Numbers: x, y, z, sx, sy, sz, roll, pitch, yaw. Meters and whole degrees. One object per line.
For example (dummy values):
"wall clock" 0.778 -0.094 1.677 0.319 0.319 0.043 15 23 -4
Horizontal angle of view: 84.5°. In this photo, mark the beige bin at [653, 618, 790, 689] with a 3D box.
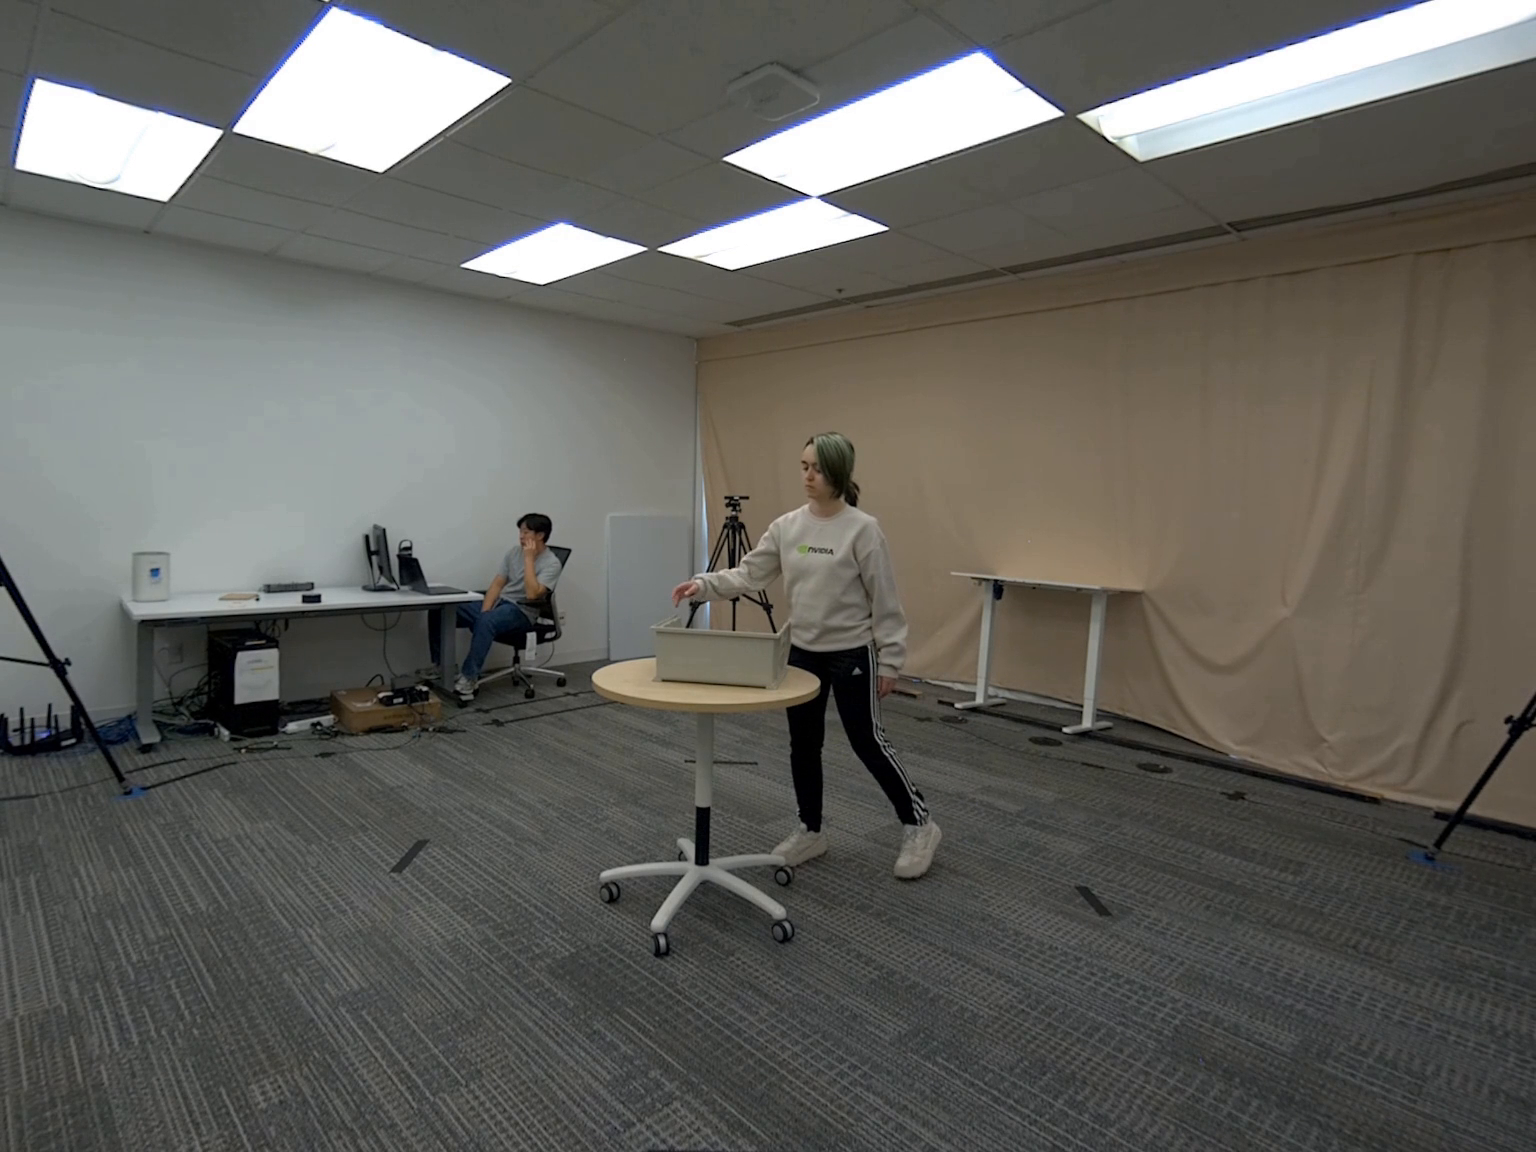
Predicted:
"beige bin" -0.153 0.249 2.875 0.426 0.188 0.376 2 6 9
